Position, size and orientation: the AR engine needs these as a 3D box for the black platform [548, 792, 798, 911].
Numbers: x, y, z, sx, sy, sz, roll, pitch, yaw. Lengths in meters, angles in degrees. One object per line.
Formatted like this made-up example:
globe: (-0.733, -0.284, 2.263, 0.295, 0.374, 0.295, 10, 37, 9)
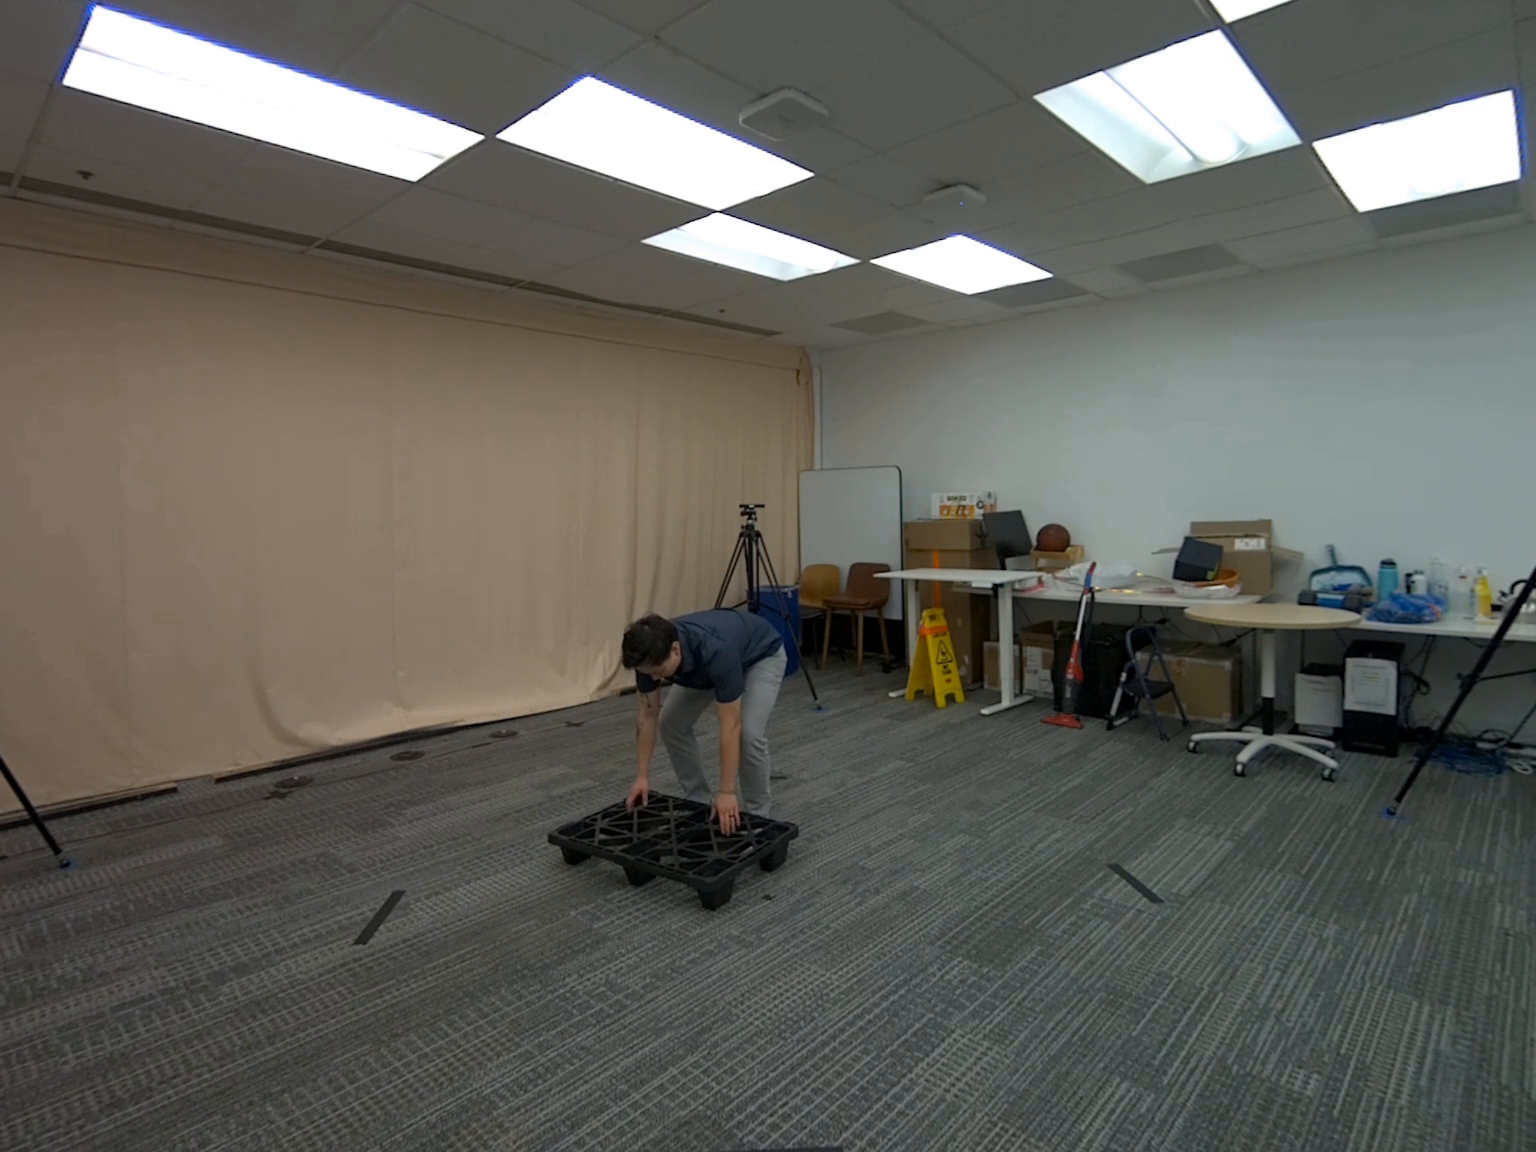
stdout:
black platform: (-0.367, 1.054, 3.287, 0.830, 0.143, 0.588, 2, 5, 34)
